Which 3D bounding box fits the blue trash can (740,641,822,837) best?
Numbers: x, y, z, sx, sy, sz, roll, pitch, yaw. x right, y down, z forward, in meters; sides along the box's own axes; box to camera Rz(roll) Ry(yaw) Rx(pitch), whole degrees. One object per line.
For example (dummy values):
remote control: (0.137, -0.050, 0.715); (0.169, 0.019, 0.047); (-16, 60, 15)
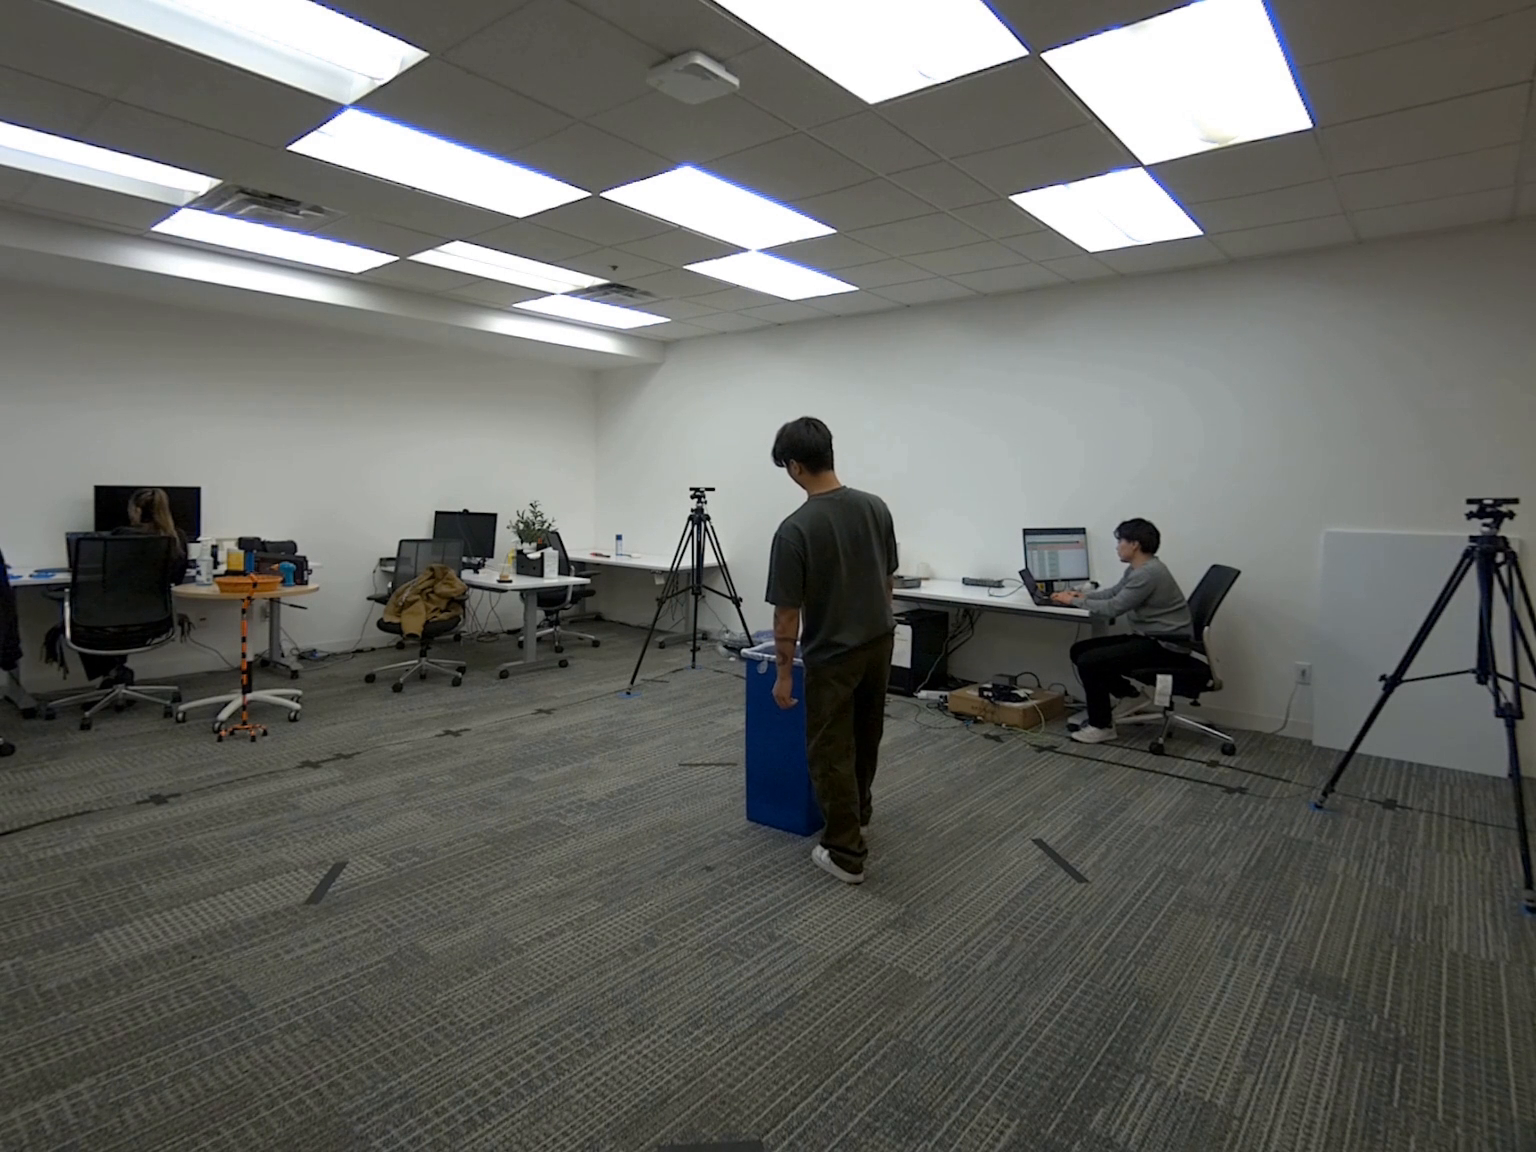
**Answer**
blue trash can: (0.100, 0.667, 3.604); (0.386, 0.712, 0.367); (4, 4, 33)
